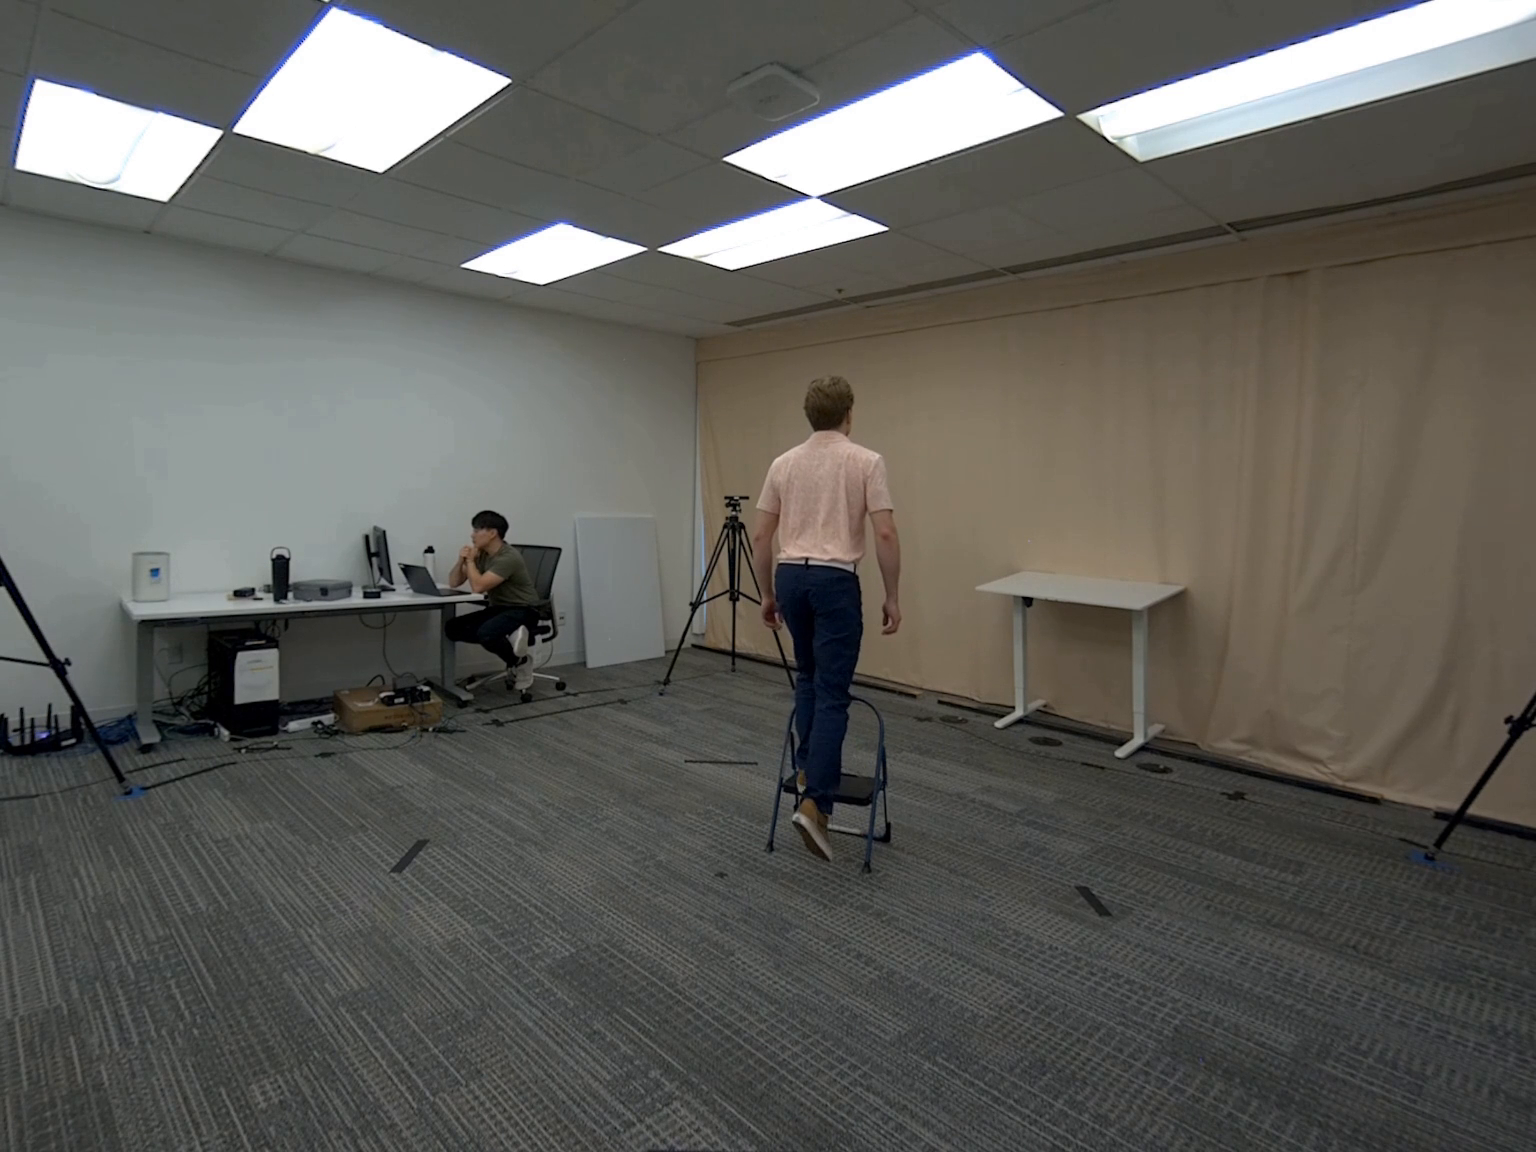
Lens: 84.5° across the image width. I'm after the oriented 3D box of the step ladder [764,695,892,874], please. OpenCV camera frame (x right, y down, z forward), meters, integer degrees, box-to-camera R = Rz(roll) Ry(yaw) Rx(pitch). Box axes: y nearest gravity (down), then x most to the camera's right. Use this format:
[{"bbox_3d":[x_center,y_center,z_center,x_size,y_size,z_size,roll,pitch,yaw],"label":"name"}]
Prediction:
[{"bbox_3d":[0.254,0.785,3.379,0.439,0.605,0.343,4,3,24],"label":"step ladder"}]
